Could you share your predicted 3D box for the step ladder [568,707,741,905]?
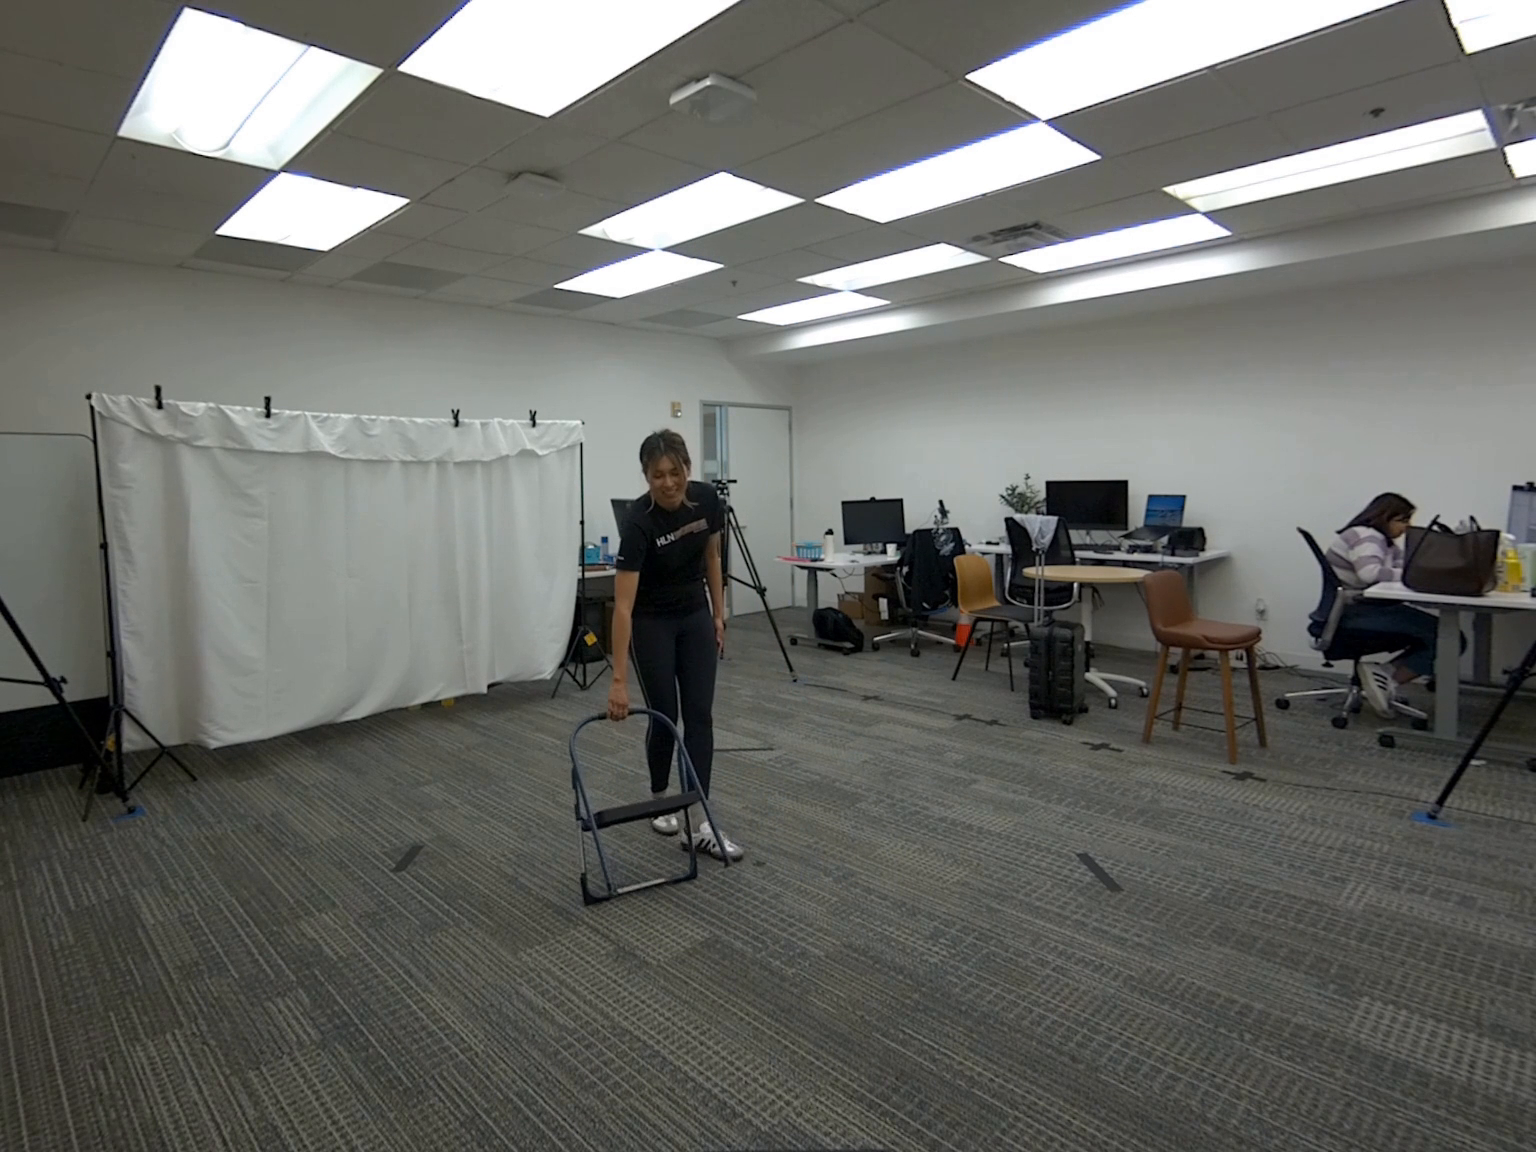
[{"bbox_3d":[-0.437,0.739,2.899,0.421,0.620,0.349,-3,-25,-29],"label":"step ladder"}]
